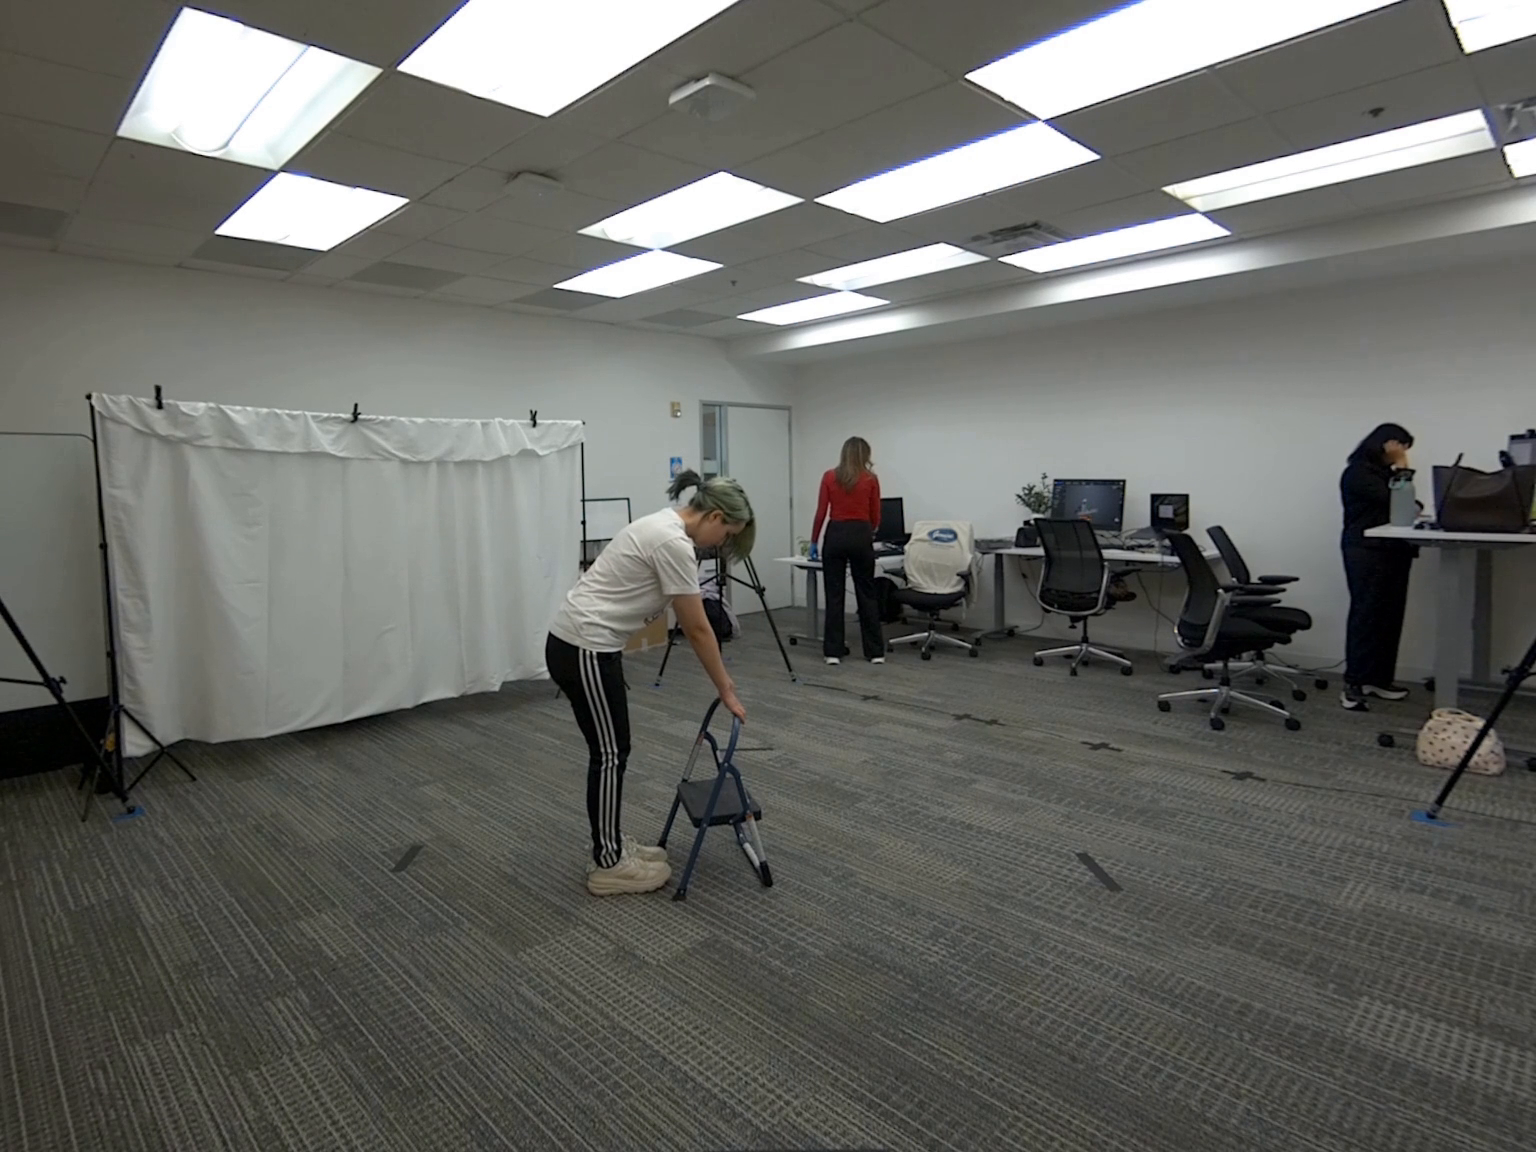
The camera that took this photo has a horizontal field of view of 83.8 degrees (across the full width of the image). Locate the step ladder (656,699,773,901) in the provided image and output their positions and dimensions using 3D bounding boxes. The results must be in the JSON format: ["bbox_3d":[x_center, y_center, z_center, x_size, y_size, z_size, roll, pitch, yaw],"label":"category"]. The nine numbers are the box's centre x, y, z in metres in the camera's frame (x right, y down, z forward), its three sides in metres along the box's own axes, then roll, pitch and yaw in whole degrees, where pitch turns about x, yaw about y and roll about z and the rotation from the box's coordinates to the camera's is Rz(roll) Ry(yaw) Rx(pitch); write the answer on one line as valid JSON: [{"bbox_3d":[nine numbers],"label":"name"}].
[{"bbox_3d":[-0.209,0.752,3.072,0.345,0.603,0.438,-2,5,-15],"label":"step ladder"}]
